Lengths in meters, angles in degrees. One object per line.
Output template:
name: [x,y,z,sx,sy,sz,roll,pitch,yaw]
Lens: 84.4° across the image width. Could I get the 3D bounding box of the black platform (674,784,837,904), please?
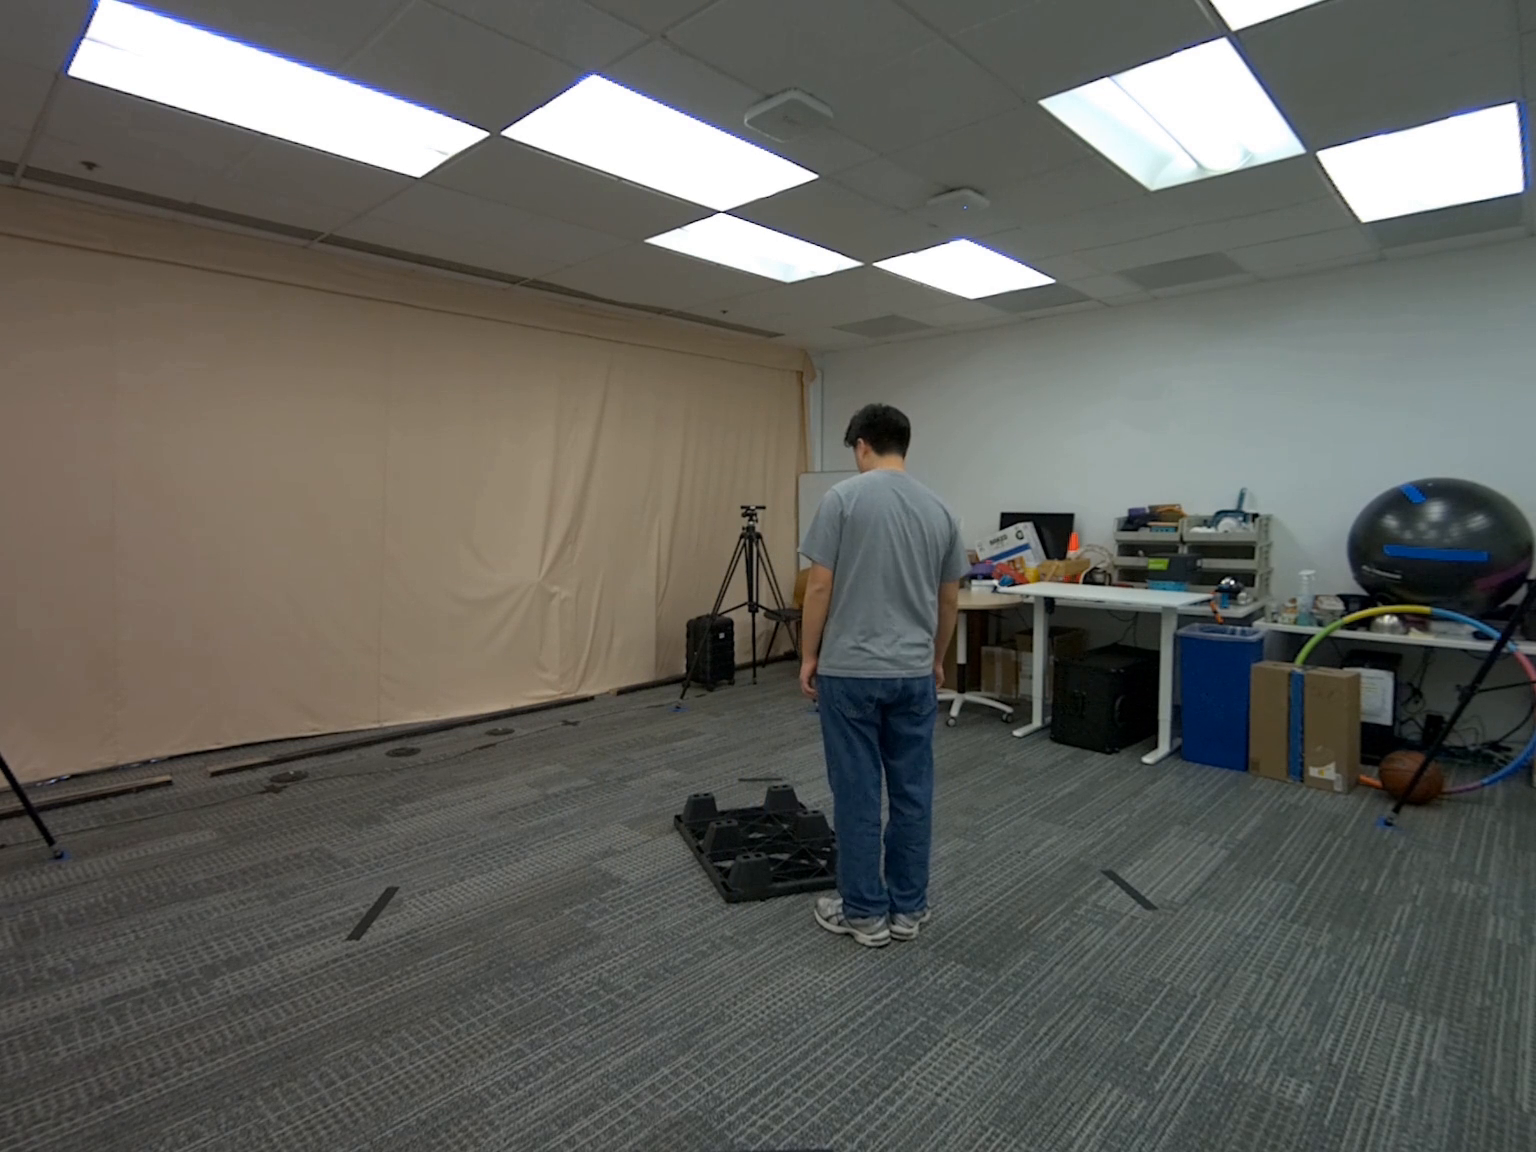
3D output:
black platform: [-0.004,1.040,3.397,0.594,0.143,0.823,-1,4,-20]
